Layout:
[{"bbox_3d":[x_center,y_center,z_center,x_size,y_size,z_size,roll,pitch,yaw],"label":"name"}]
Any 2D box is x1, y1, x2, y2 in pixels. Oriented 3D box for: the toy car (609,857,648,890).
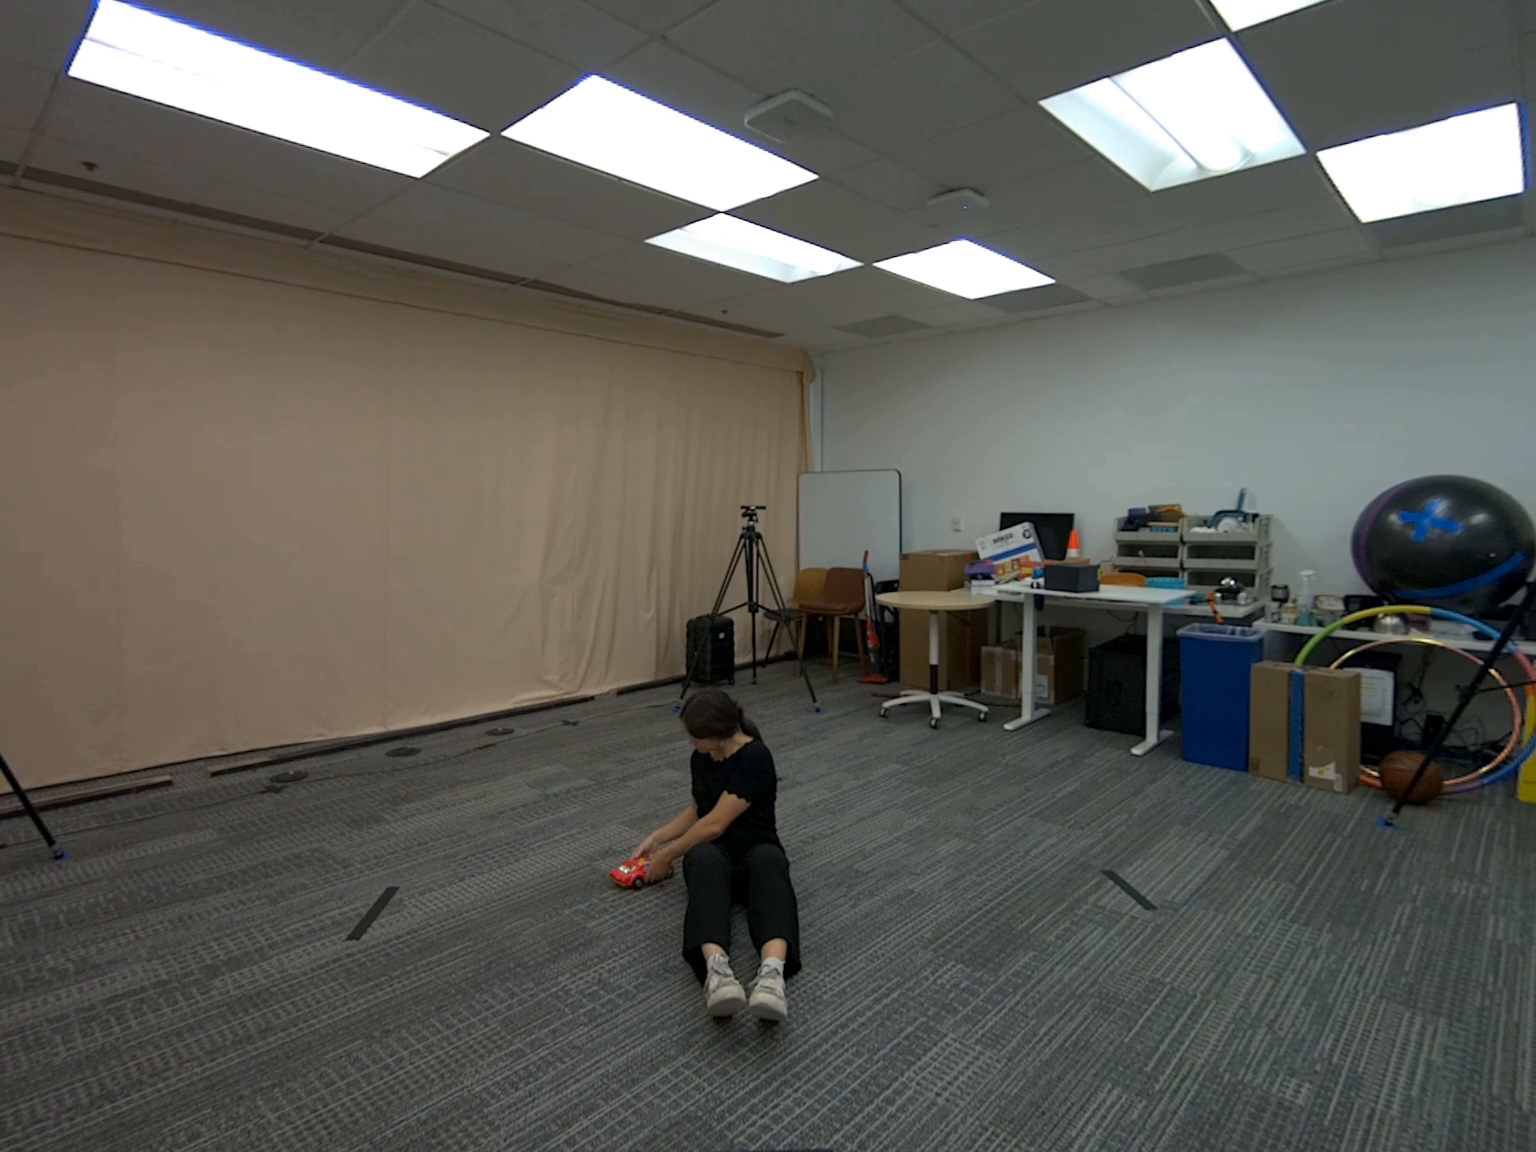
[{"bbox_3d":[-0.477,1.103,3.132,0.246,0.083,0.134,11,-4,-40],"label":"toy car"}]
